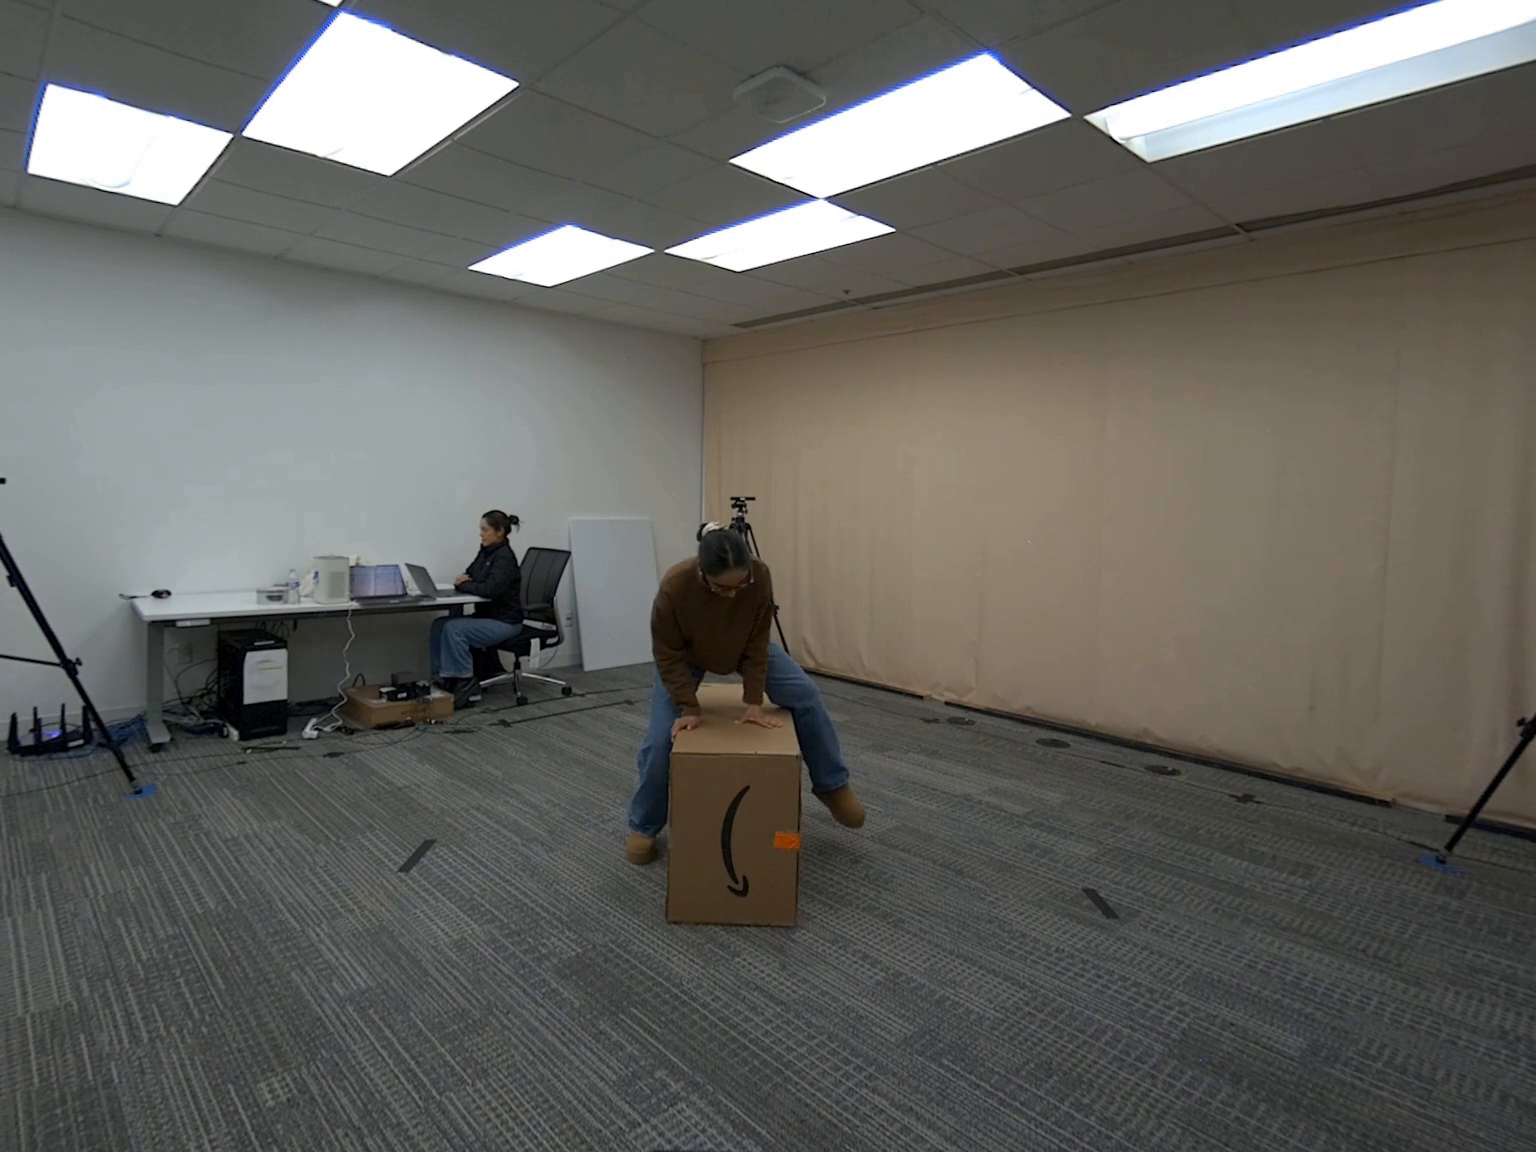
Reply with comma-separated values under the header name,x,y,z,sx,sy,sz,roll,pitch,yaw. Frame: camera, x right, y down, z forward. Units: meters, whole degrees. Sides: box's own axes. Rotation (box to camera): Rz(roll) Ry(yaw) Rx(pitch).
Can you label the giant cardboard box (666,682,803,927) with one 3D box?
name,x,y,z,sx,sy,sz,roll,pitch,yaw
giant cardboard box,-0.128,0.813,3.234,0.447,0.582,1.030,0,5,-1
